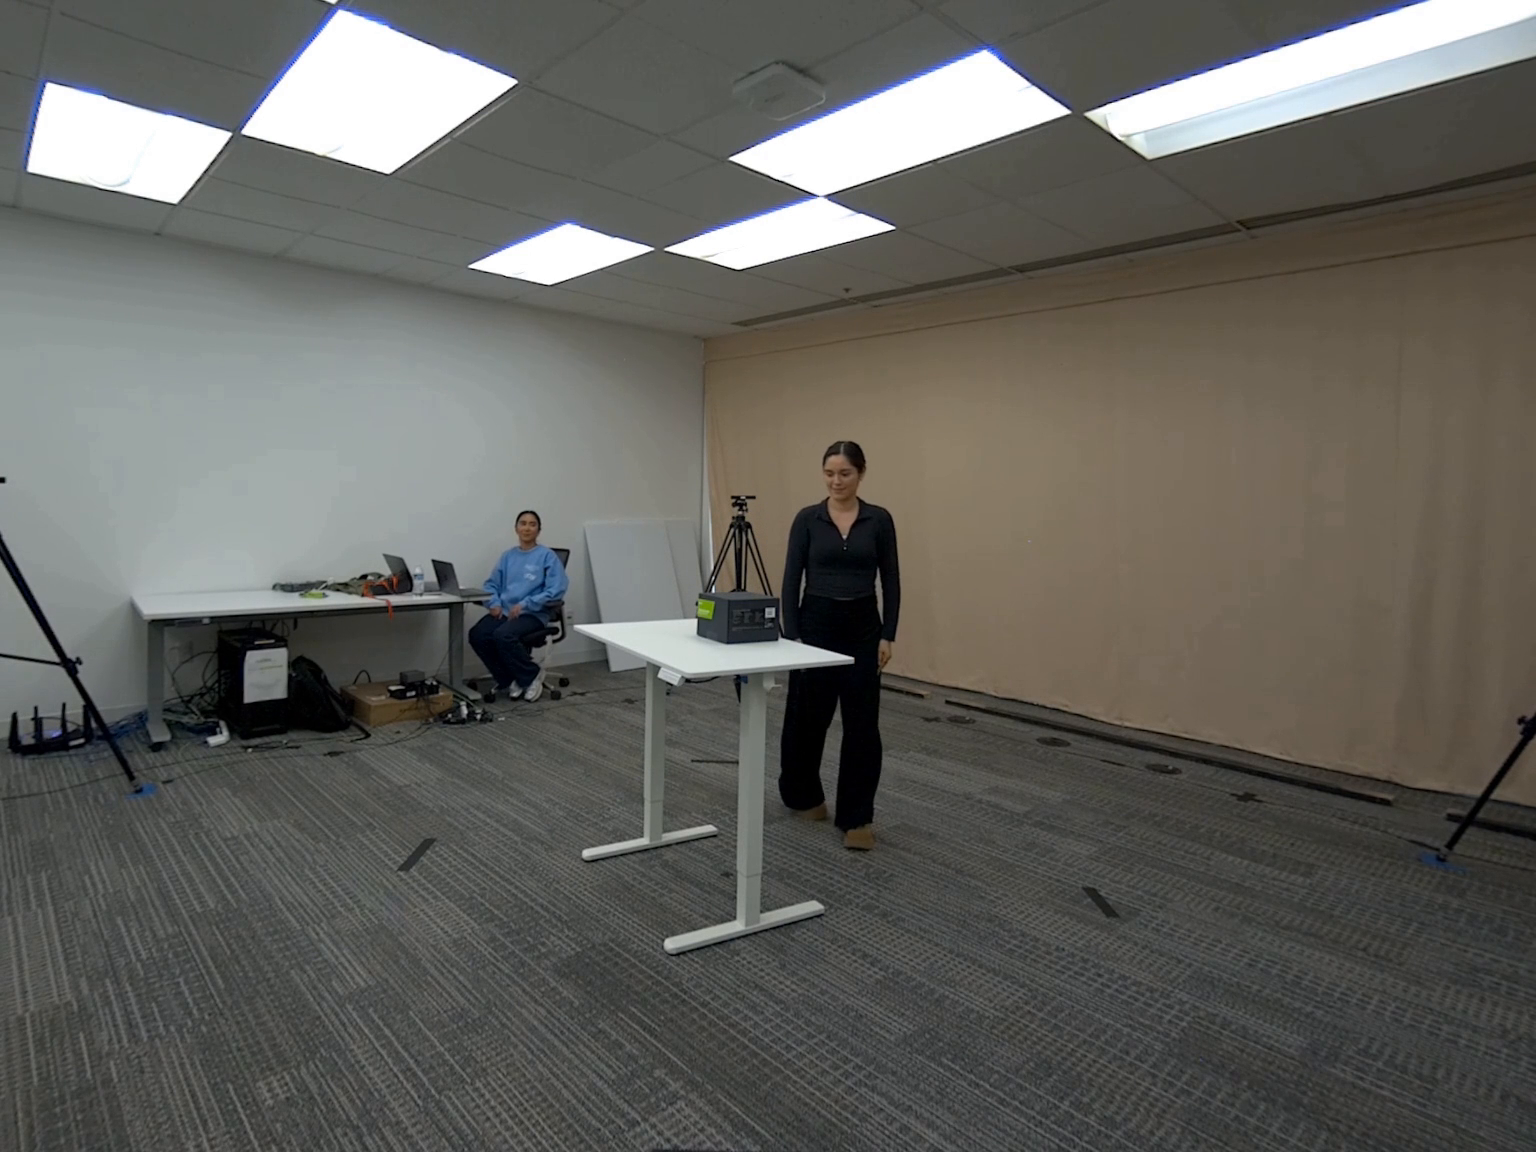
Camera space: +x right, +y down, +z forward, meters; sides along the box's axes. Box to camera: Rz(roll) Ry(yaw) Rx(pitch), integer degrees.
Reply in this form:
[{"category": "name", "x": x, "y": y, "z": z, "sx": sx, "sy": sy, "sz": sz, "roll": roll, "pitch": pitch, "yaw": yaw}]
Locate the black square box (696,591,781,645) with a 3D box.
[{"category": "black square box", "x": -0.115, "y": 0.147, "z": 3.049, "sx": 0.212, "sy": 0.155, "sz": 0.233, "roll": -1, "pitch": 5, "yaw": -31}]
